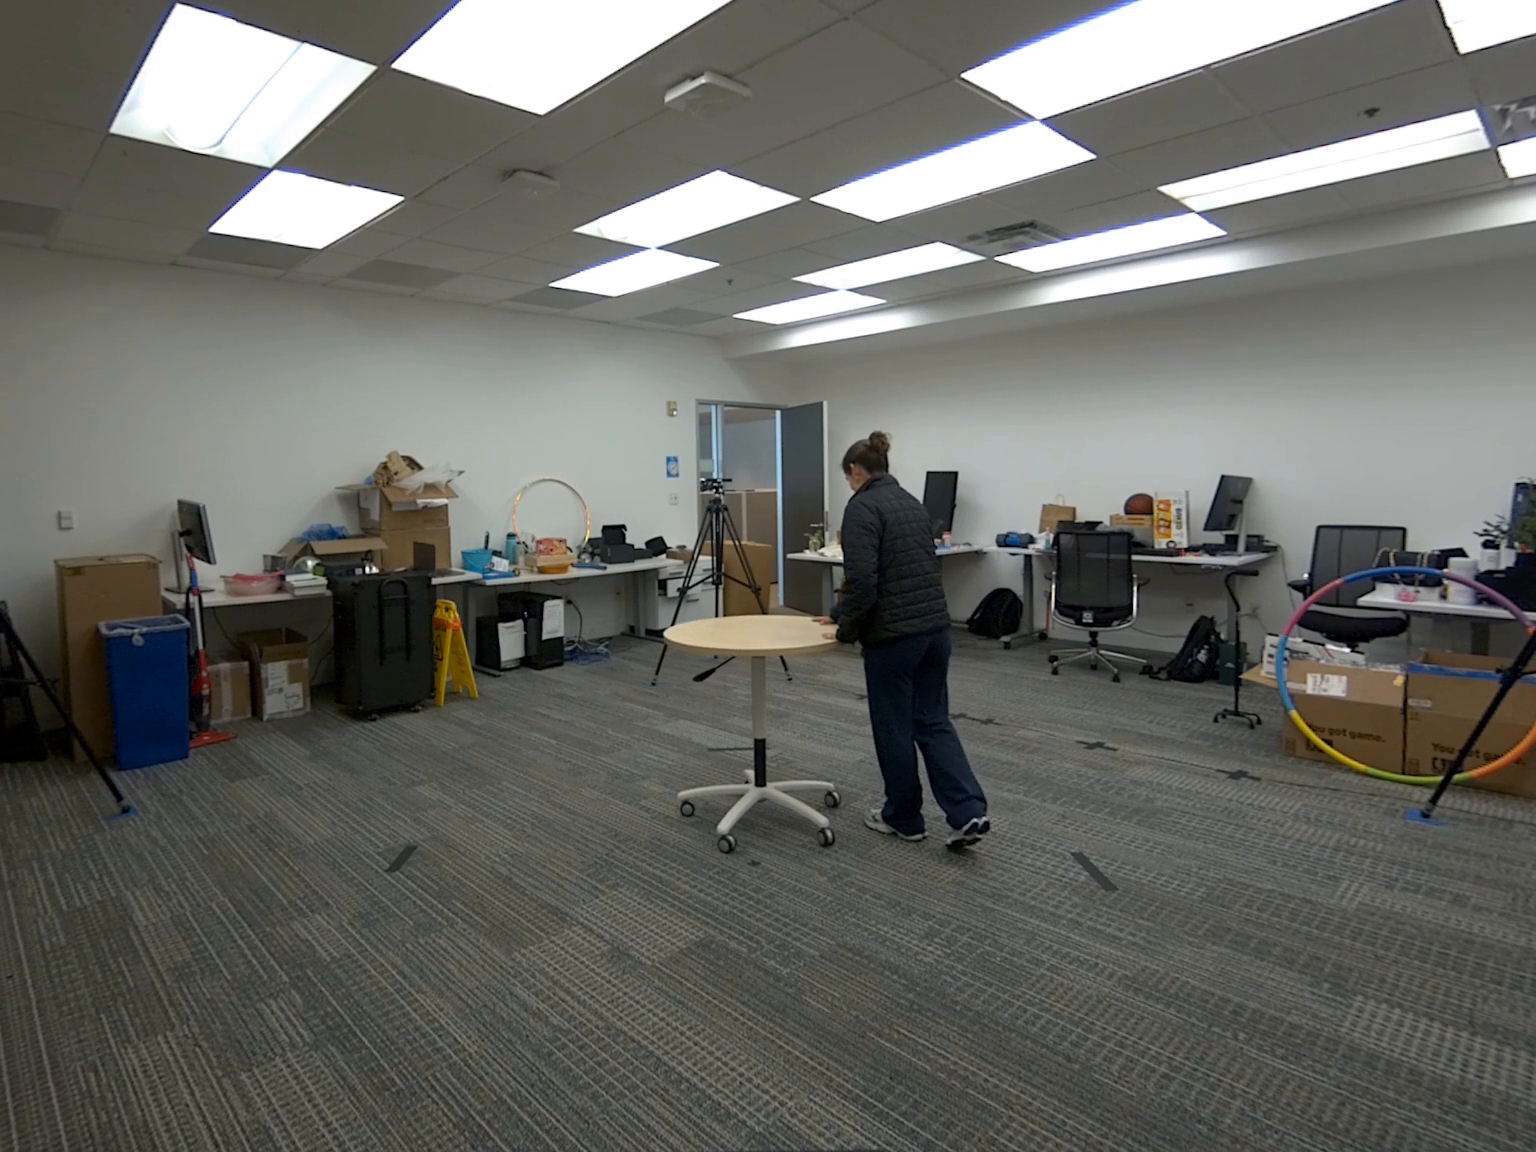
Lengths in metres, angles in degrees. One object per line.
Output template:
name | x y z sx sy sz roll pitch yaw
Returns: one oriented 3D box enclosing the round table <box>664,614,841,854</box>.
round table | -0.021 0.606 3.506 0.784 0.783 0.789 -1 5 -2
